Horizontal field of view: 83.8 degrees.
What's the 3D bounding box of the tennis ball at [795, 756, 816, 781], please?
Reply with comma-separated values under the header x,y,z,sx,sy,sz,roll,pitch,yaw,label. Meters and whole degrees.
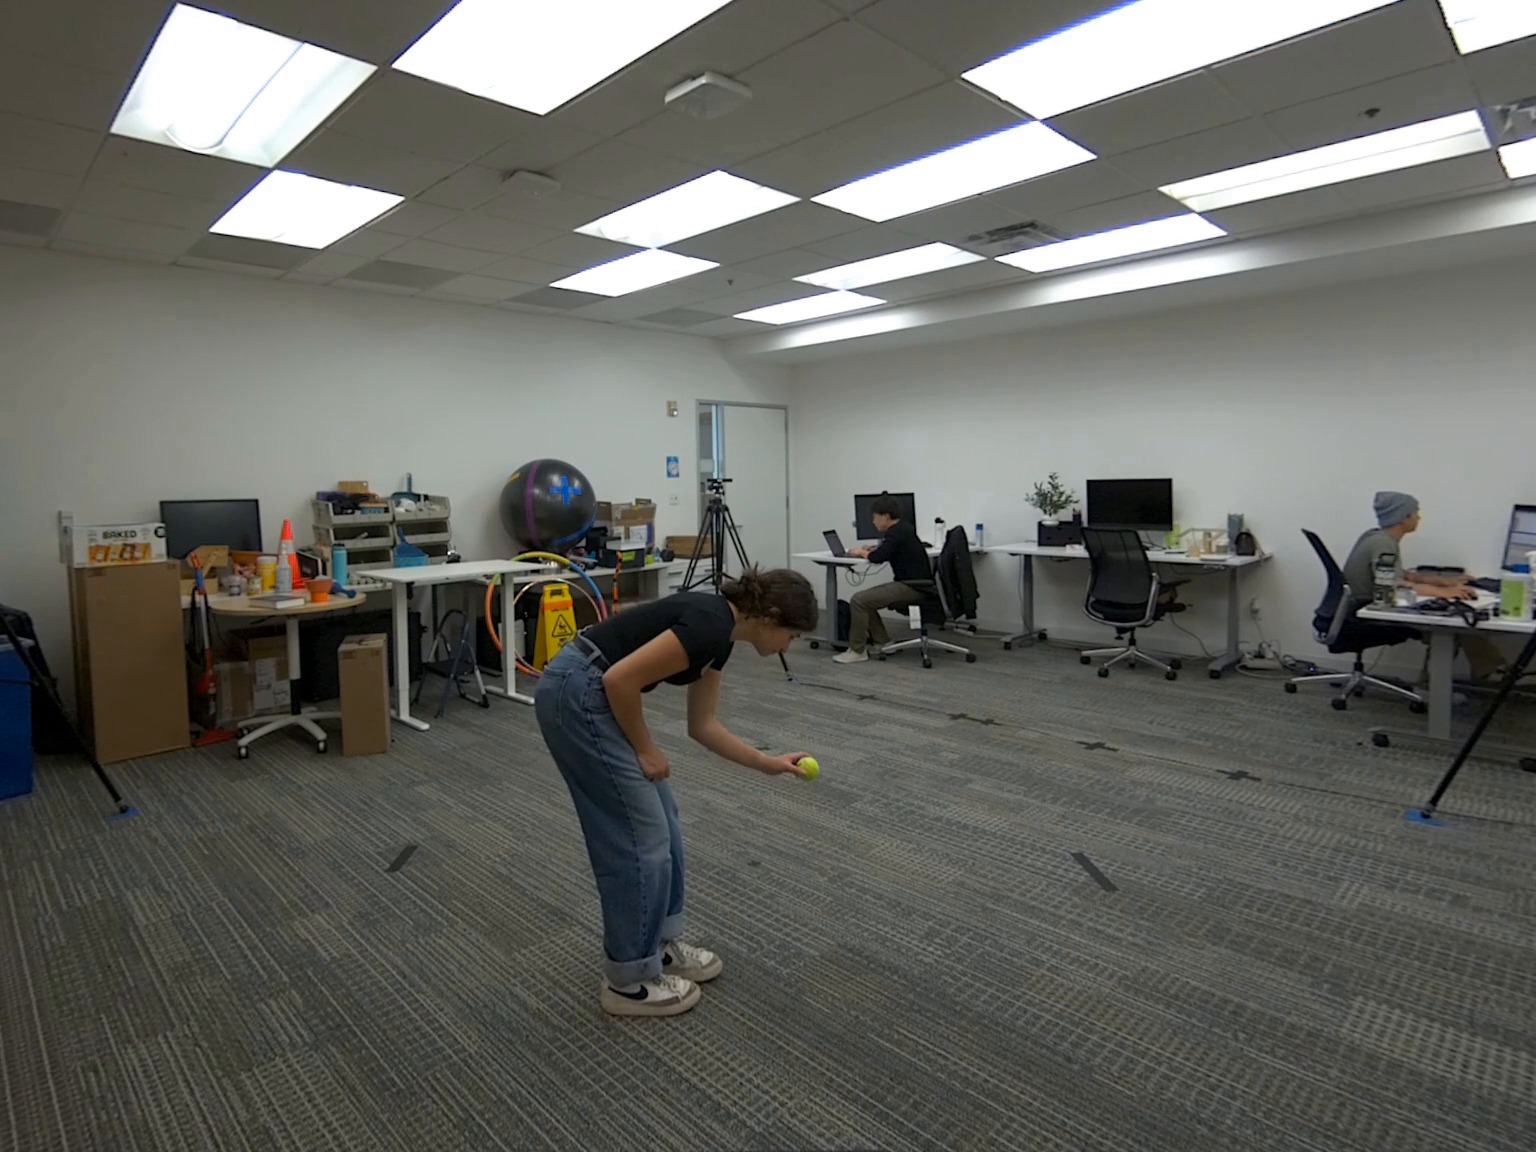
x,y,z,sx,sy,sz,roll,pitch,yaw,label
0.080,0.595,2.507,0.066,0.066,0.067,-1,5,-2,tennis ball
